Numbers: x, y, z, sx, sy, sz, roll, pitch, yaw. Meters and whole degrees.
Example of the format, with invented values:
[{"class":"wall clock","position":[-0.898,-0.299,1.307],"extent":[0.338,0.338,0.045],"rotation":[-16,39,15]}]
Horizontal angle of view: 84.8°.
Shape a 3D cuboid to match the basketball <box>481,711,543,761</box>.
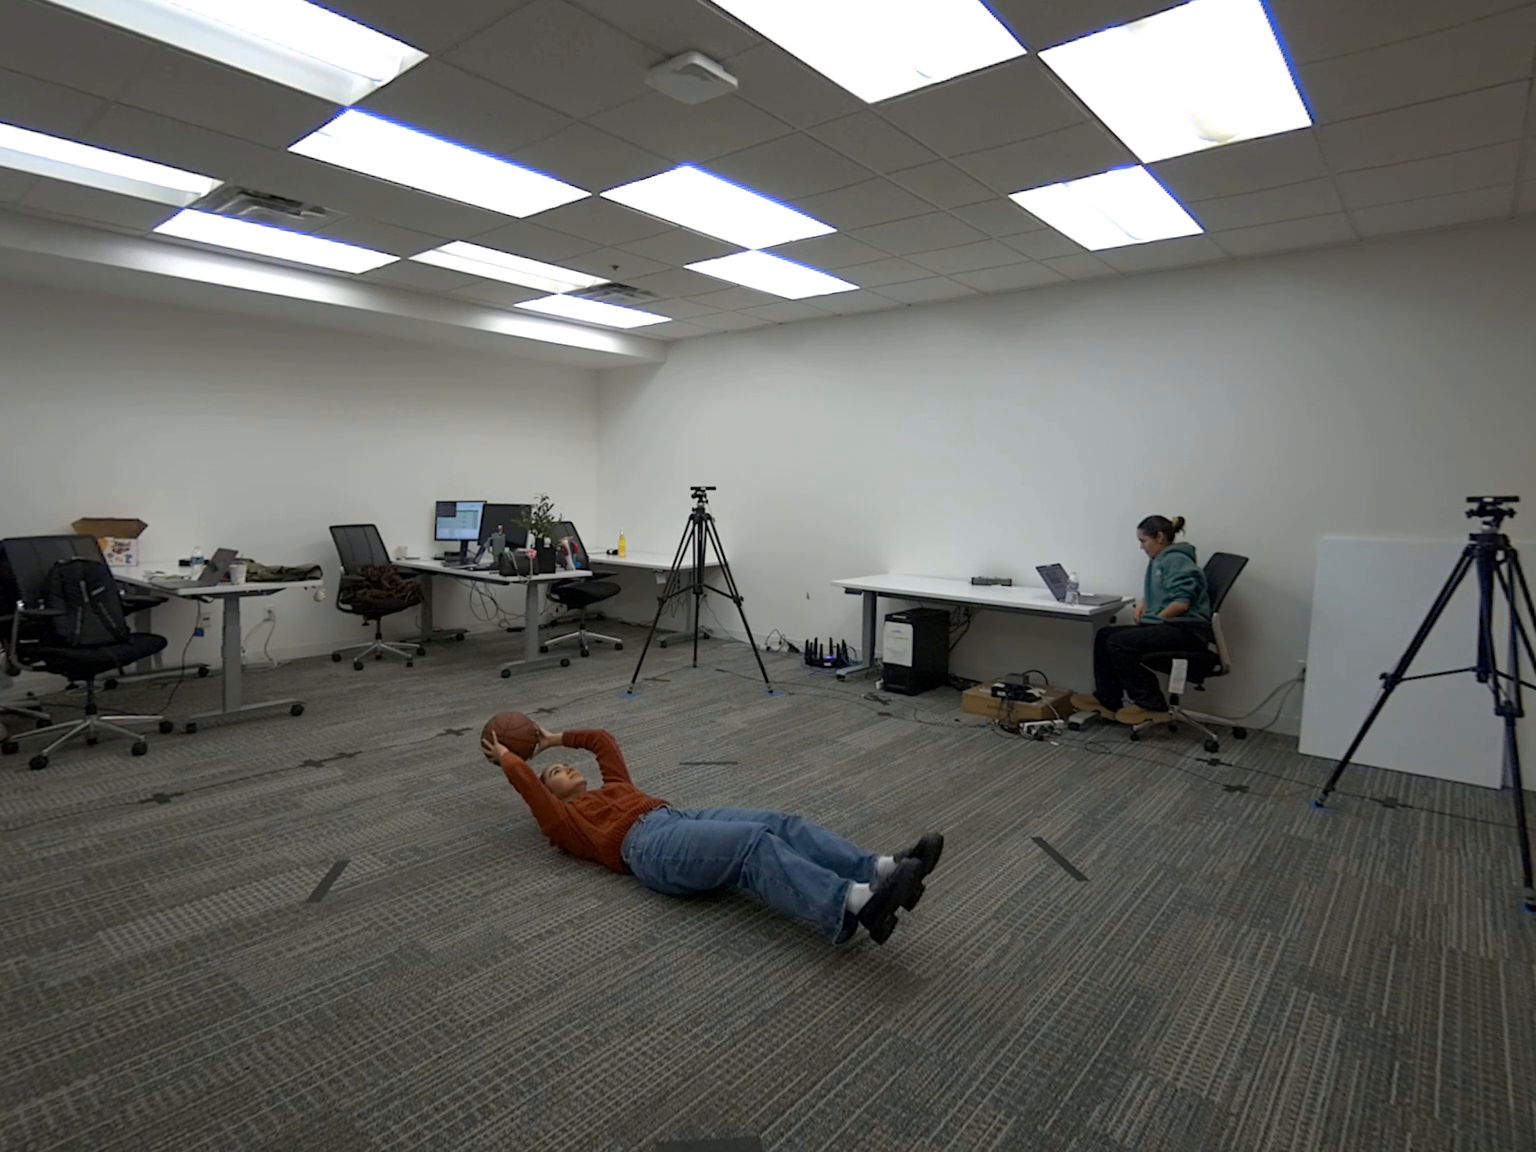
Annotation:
[{"class":"basketball","position":[-1.124,0.697,3.637],"extent":[0.236,0.235,0.237],"rotation":[-3,3,-2]}]
